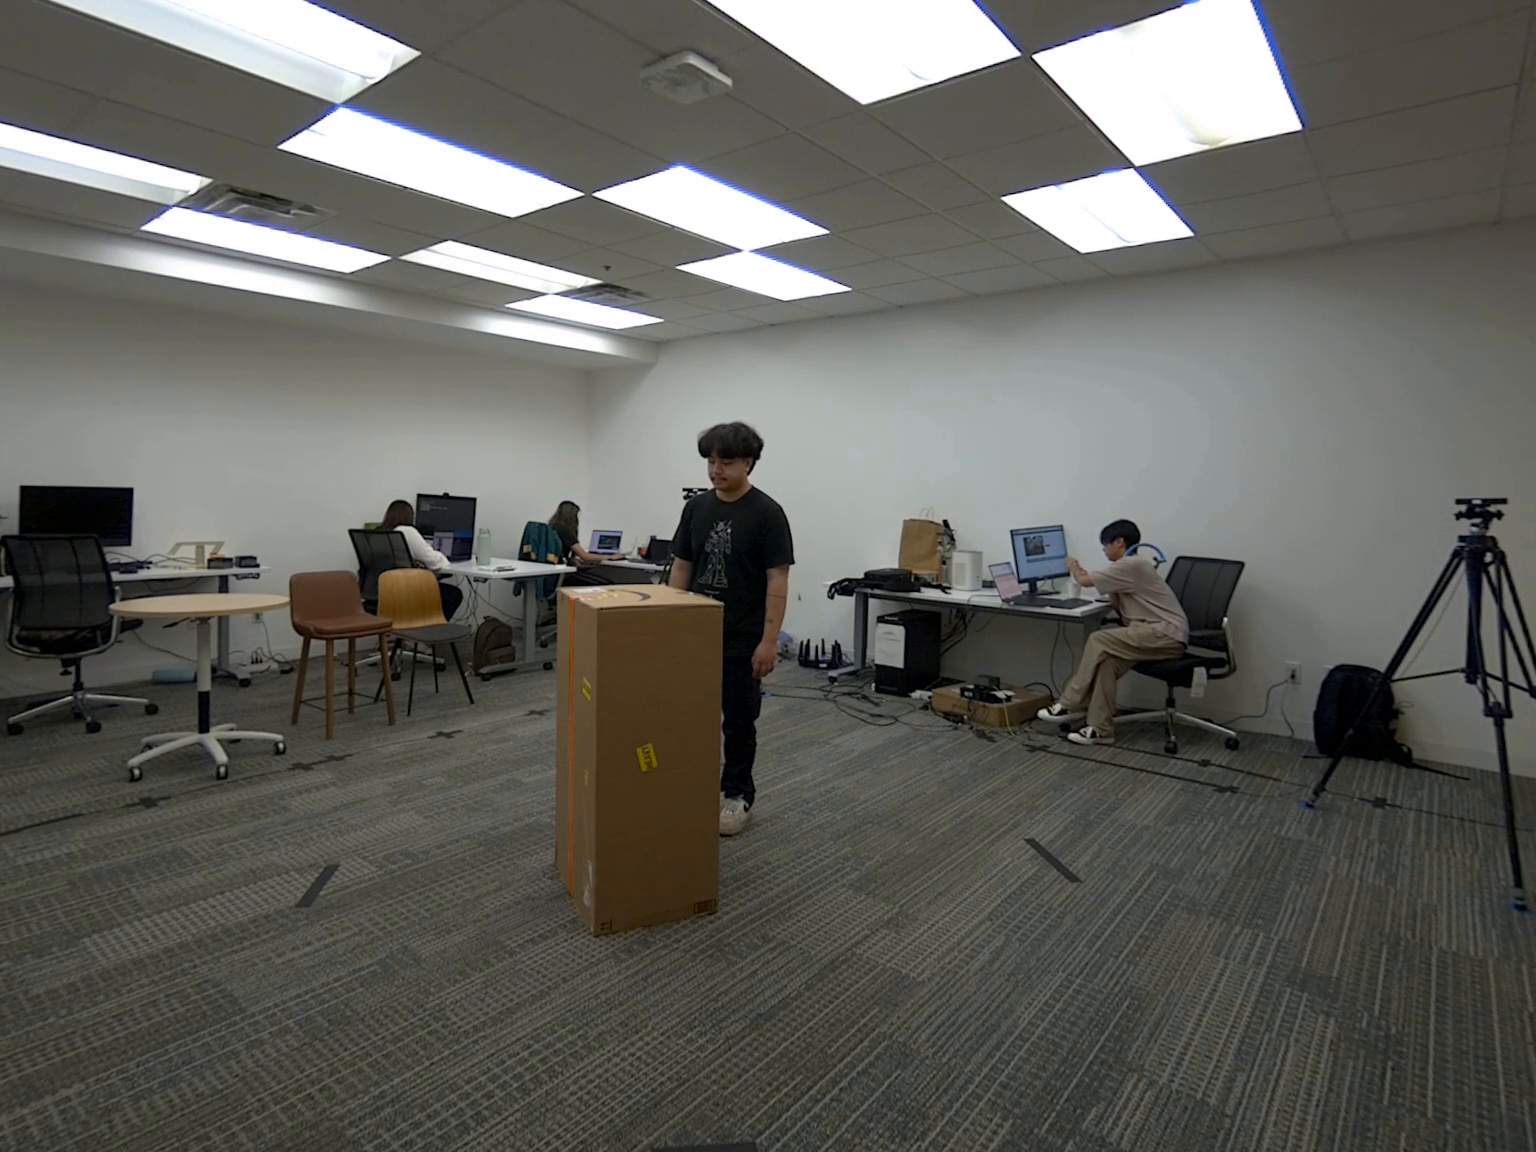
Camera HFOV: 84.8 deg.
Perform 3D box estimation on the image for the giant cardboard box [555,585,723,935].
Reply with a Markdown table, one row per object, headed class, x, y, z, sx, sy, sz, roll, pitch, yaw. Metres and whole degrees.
| class | x | y | z | sx | sy | sz | roll | pitch | yaw |
| --- | --- | --- | --- | --- | --- | --- | --- | --- | --- |
| giant cardboard box | -0.480 | 0.569 | 2.938 | 0.437 | 1.024 | 0.599 | -1 | 4 | -25 |
